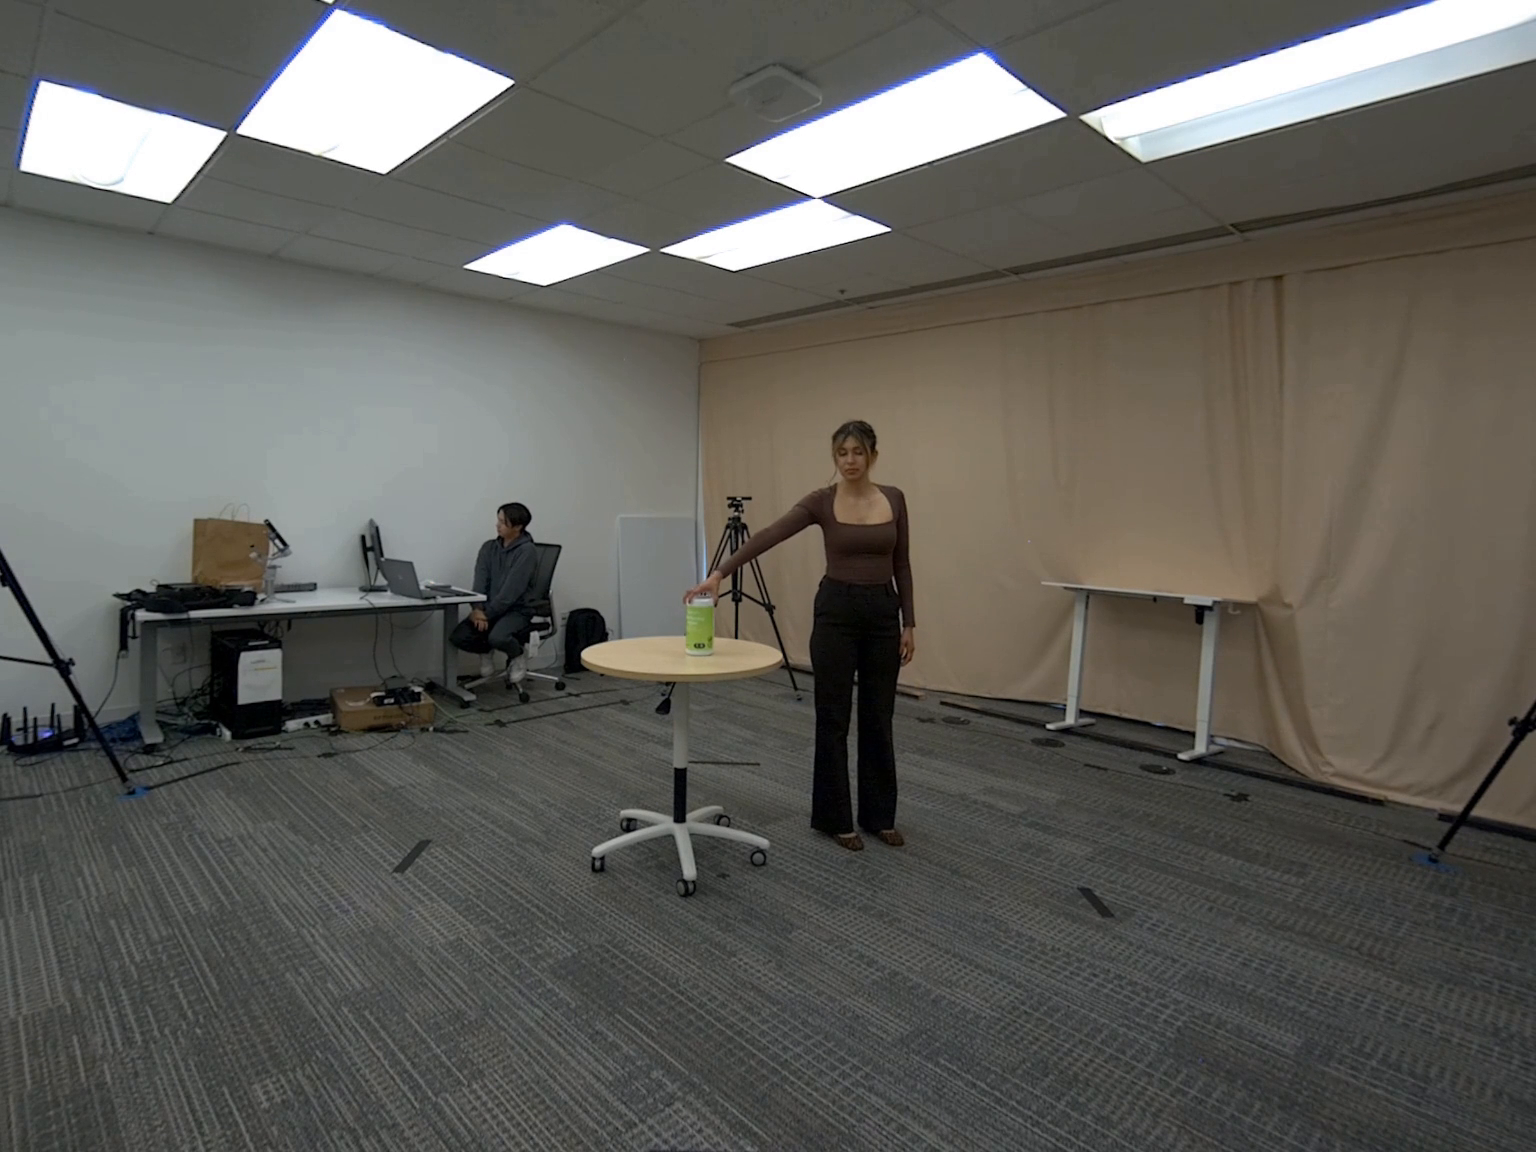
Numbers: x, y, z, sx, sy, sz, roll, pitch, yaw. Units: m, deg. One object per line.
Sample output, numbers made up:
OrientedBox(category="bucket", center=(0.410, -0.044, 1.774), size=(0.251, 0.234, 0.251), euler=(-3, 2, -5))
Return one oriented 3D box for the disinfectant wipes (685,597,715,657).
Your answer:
OrientedBox(category="disinfectant wipes", center=(-0.263, 0.186, 3.194), size=(0.118, 0.216, 0.118), euler=(1, 7, -1))
